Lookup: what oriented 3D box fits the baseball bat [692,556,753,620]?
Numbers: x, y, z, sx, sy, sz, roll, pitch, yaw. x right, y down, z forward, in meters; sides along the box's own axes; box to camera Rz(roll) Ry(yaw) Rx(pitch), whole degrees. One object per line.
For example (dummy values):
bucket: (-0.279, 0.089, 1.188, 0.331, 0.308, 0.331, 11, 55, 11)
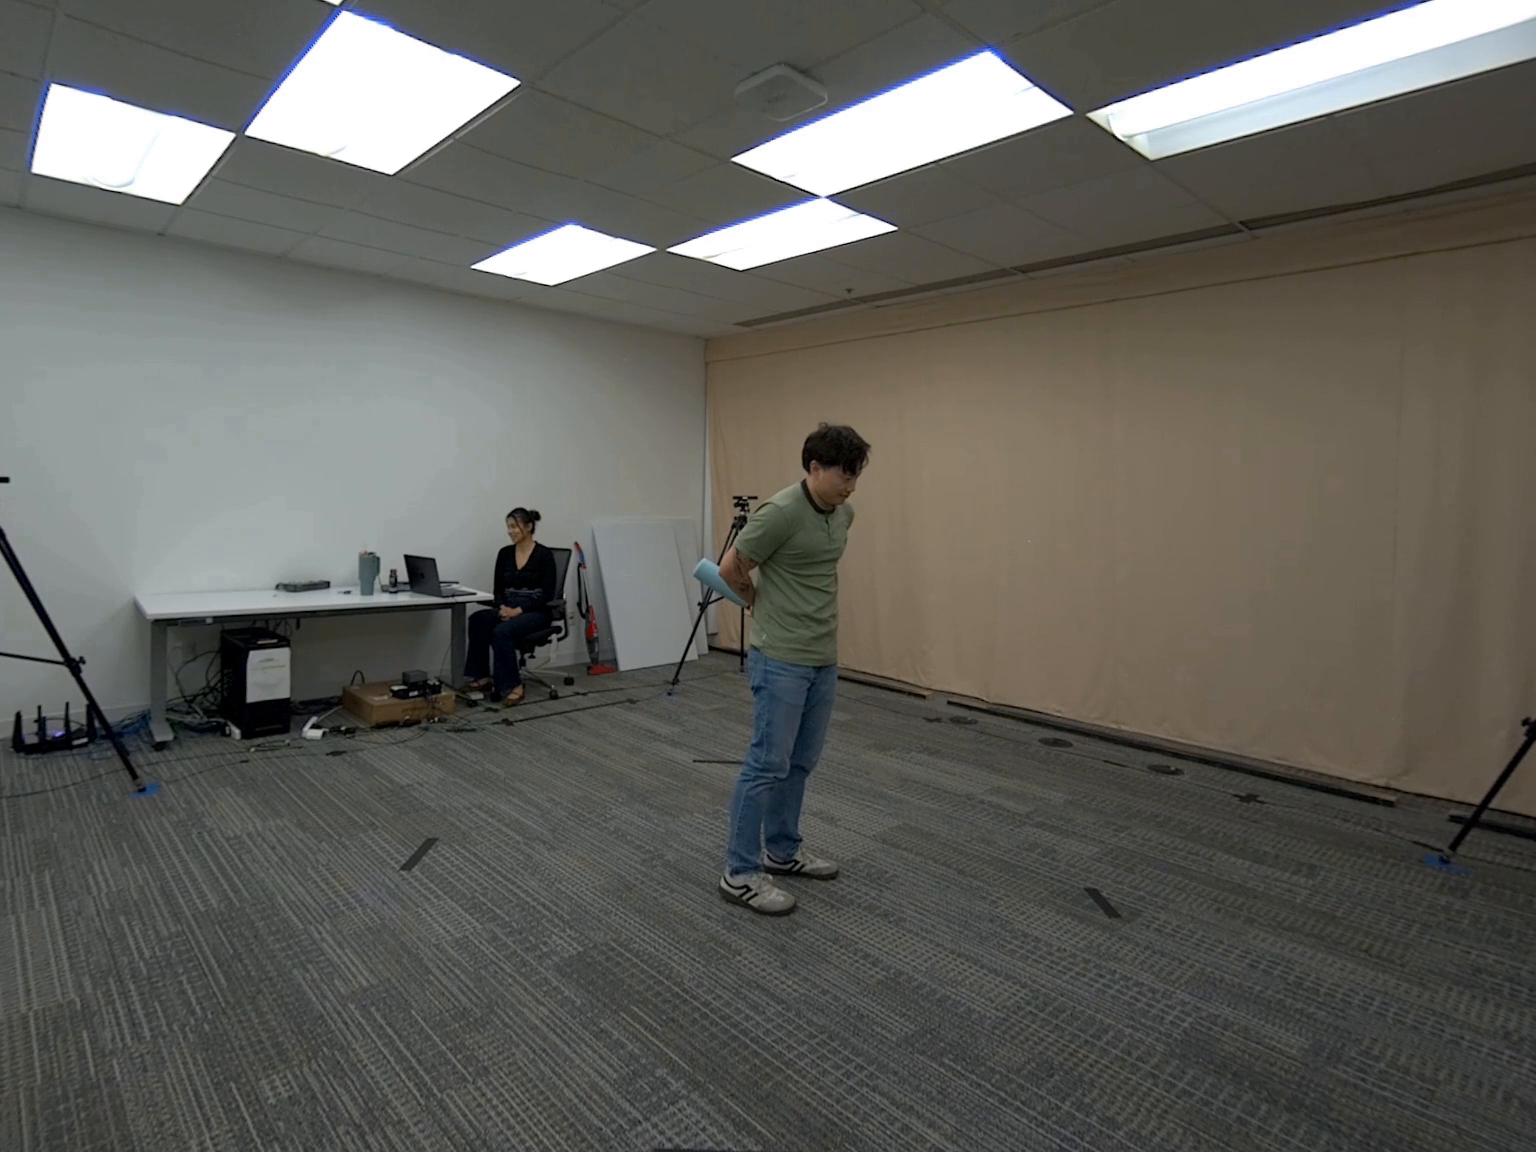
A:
baseball bat: (-0.045, 0.120, 3.270, 0.543, 0.089, 0.089, 36, 4, 0)
